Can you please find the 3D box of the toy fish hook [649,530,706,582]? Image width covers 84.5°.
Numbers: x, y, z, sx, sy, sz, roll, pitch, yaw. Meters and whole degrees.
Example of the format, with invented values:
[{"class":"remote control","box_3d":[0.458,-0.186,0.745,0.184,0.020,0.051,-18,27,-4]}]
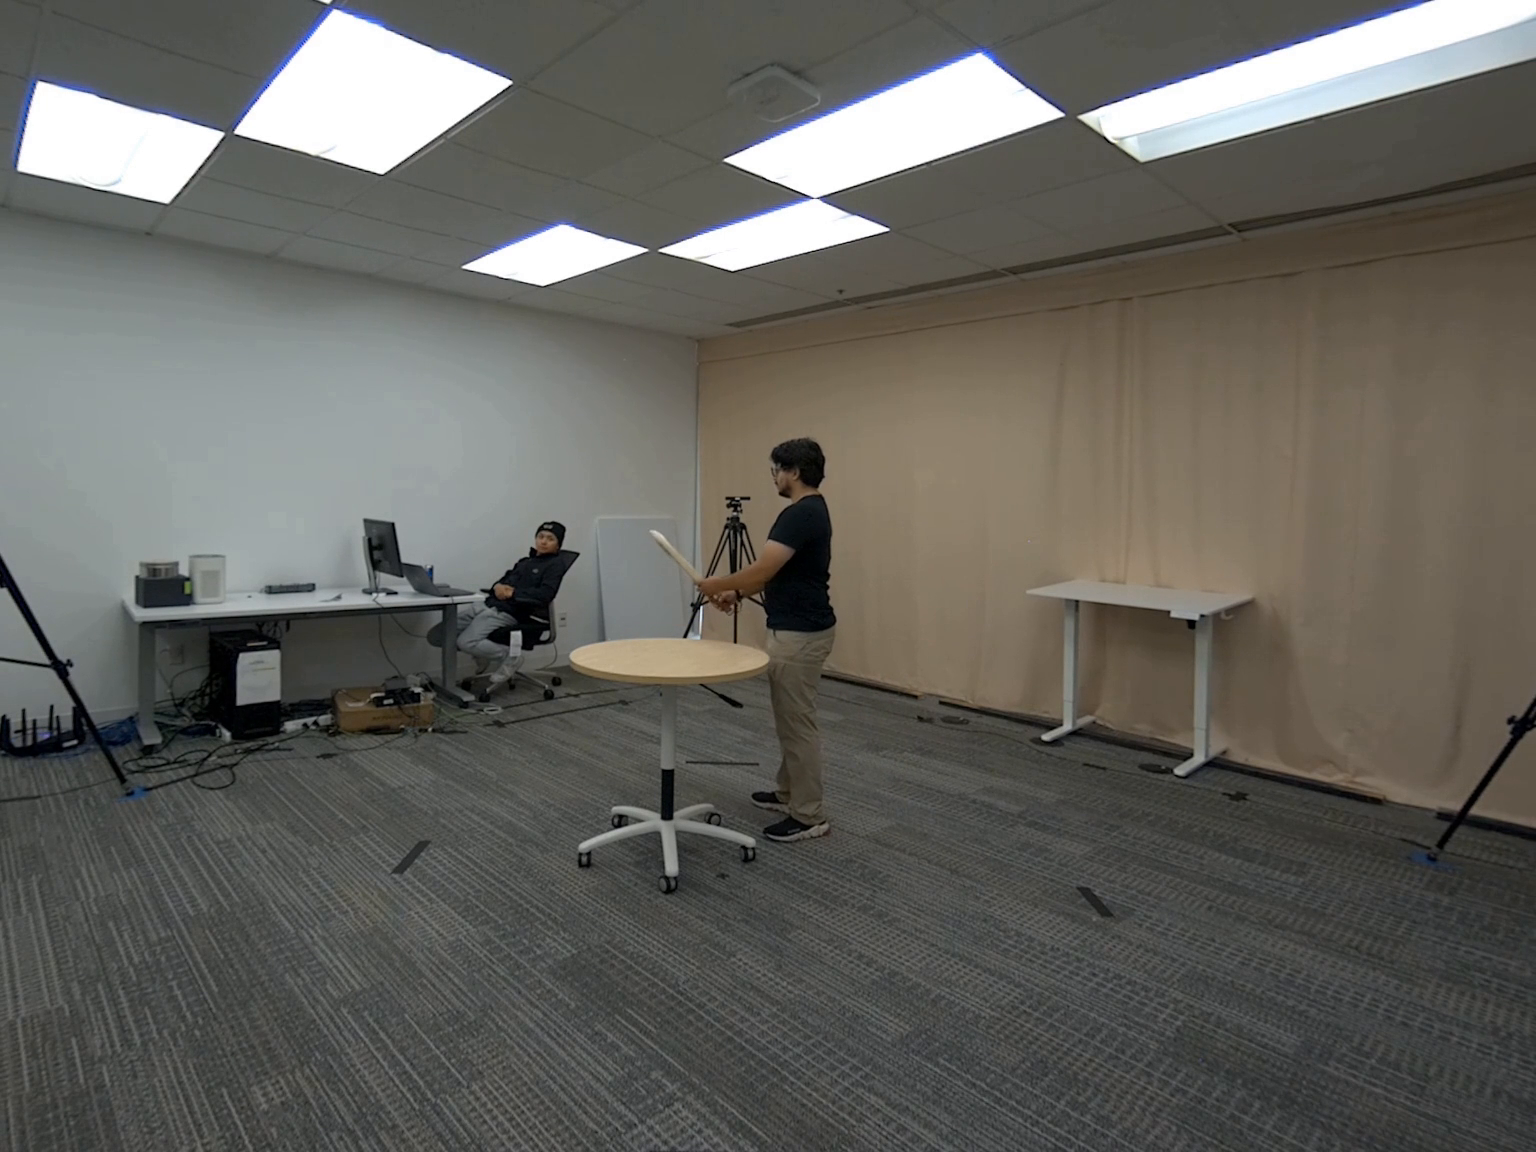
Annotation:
[{"class":"toy fish hook","box_3d":[-0.353,-0.015,3.756,0.048,0.503,0.226,-42,6,-5]}]
